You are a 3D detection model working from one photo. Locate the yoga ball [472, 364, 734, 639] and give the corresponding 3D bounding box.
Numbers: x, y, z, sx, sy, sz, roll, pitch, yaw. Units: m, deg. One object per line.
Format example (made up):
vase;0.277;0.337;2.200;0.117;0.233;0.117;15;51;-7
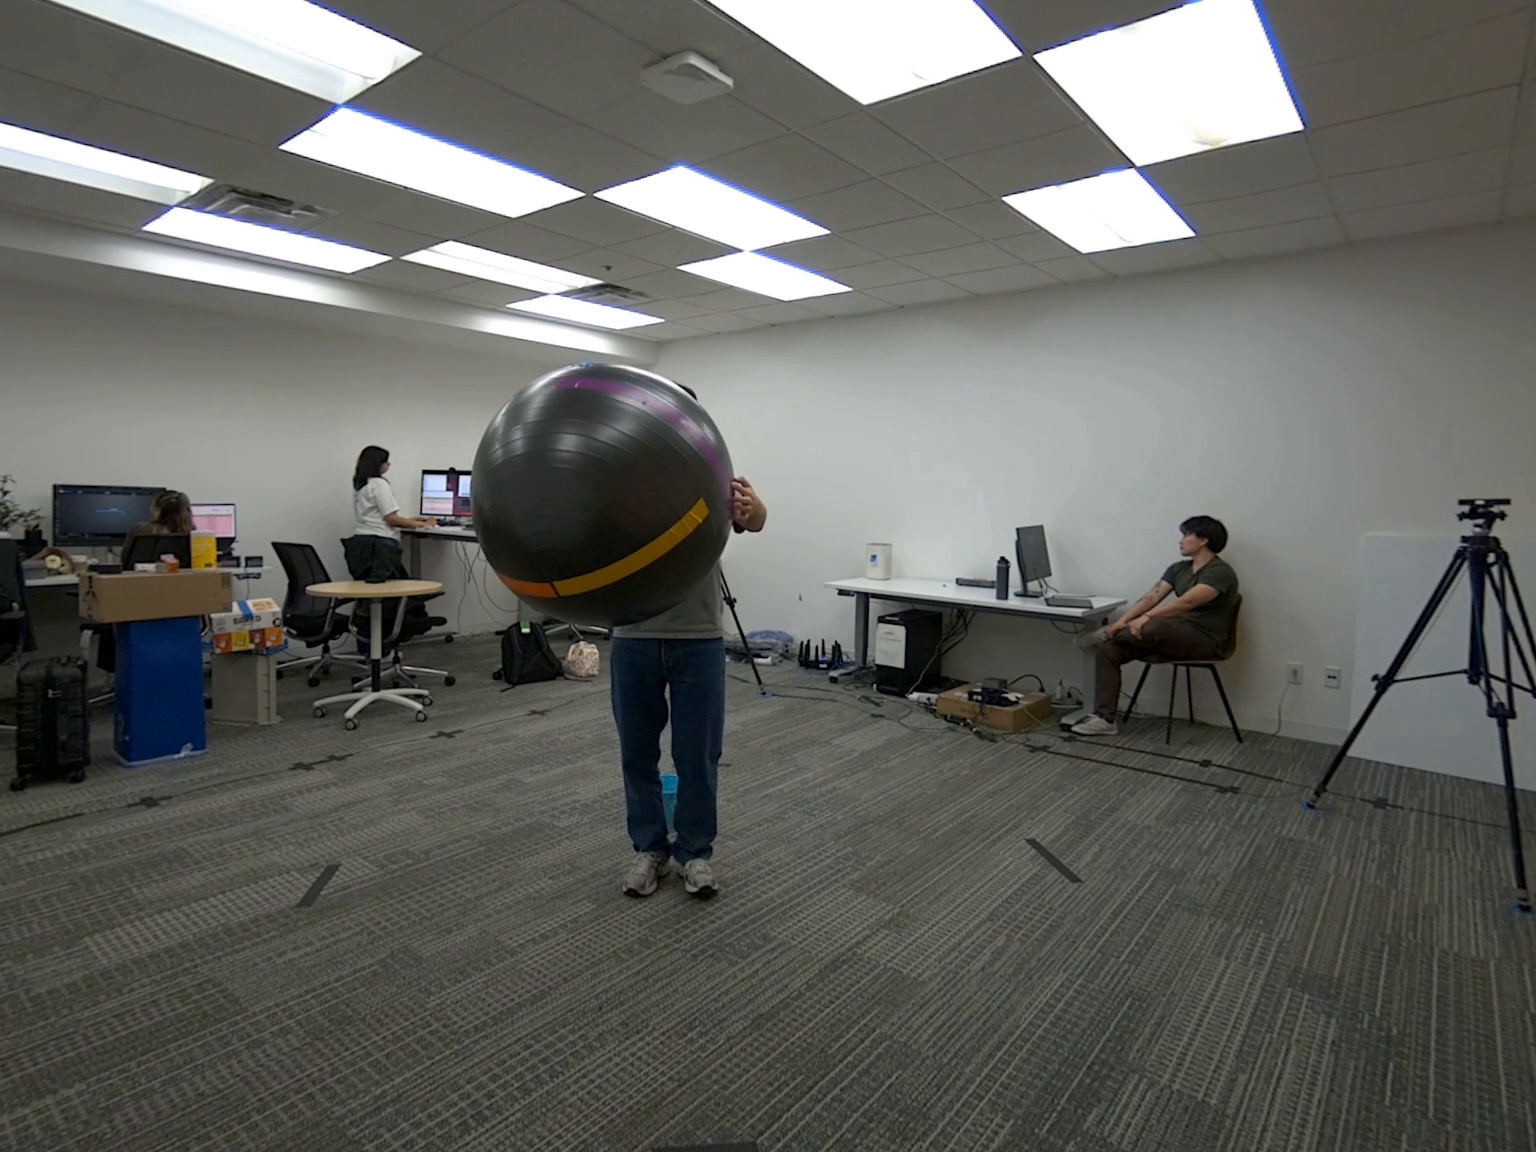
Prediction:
yoga ball;-0.488;-0.227;2.452;0.757;0.756;0.761;1;4;-2
